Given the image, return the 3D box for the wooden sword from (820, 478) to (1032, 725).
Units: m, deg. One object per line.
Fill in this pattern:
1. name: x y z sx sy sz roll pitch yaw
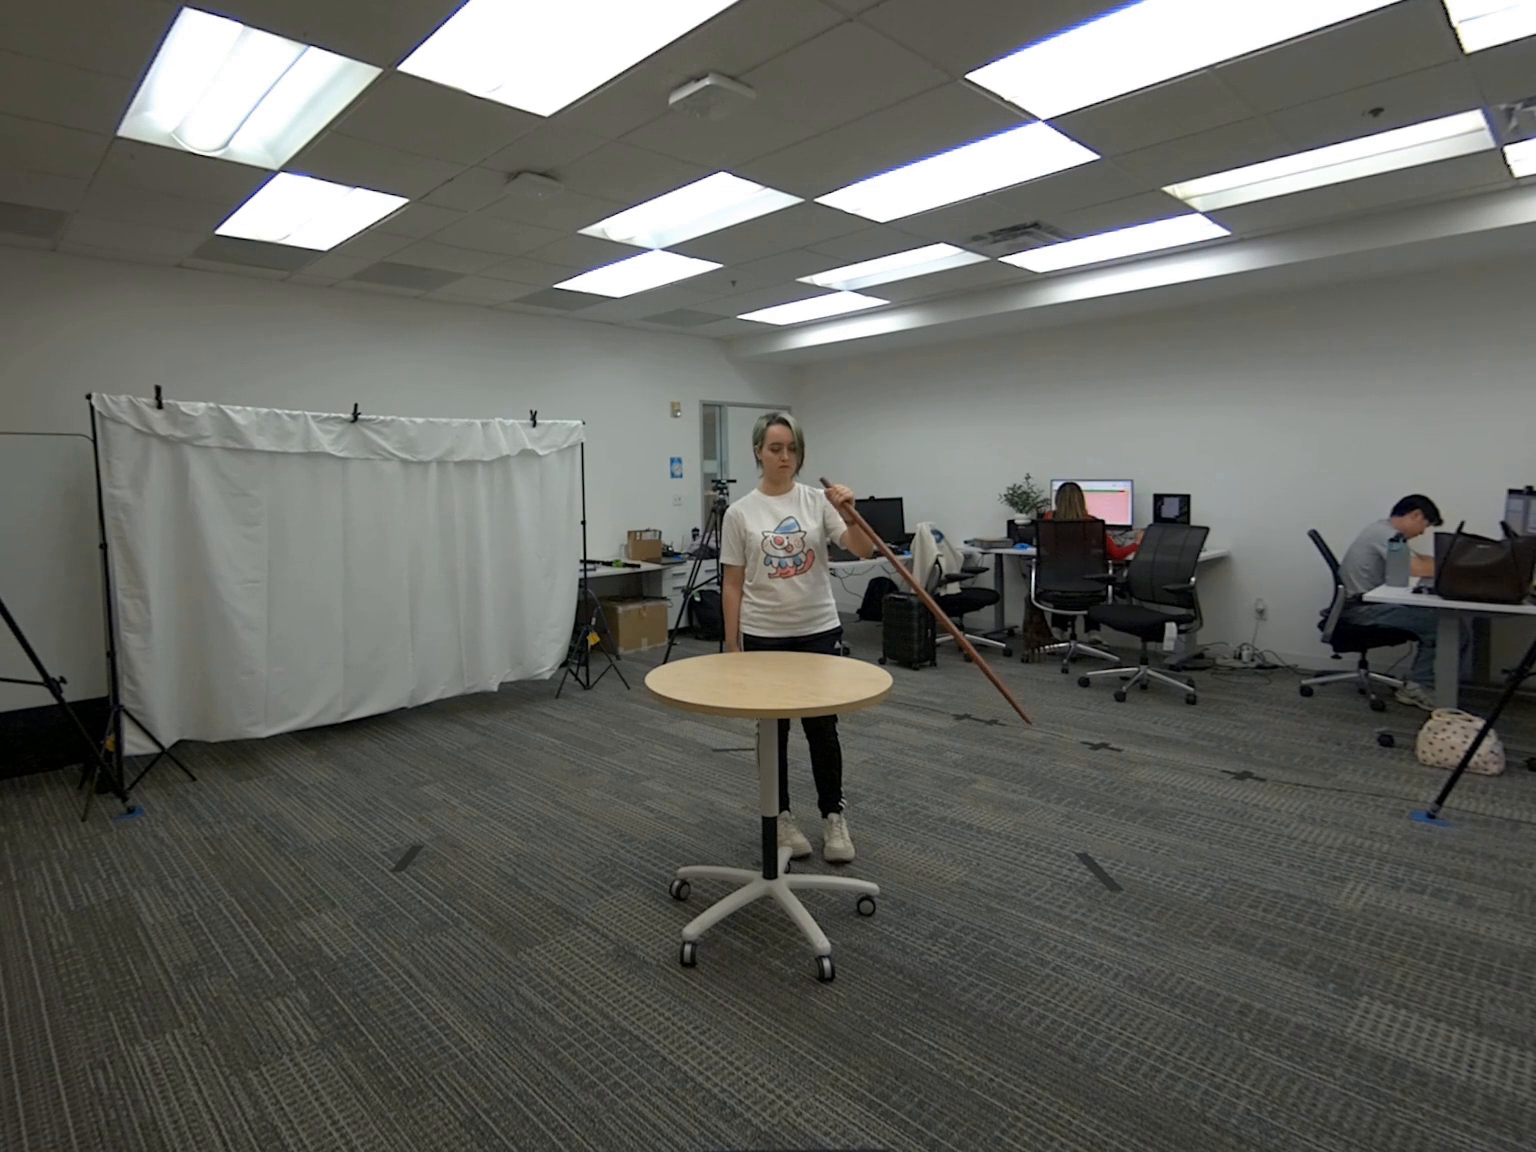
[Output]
1. wooden sword: 0.477 0.063 2.613 0.024 1.060 0.049 -33 -30 -6
